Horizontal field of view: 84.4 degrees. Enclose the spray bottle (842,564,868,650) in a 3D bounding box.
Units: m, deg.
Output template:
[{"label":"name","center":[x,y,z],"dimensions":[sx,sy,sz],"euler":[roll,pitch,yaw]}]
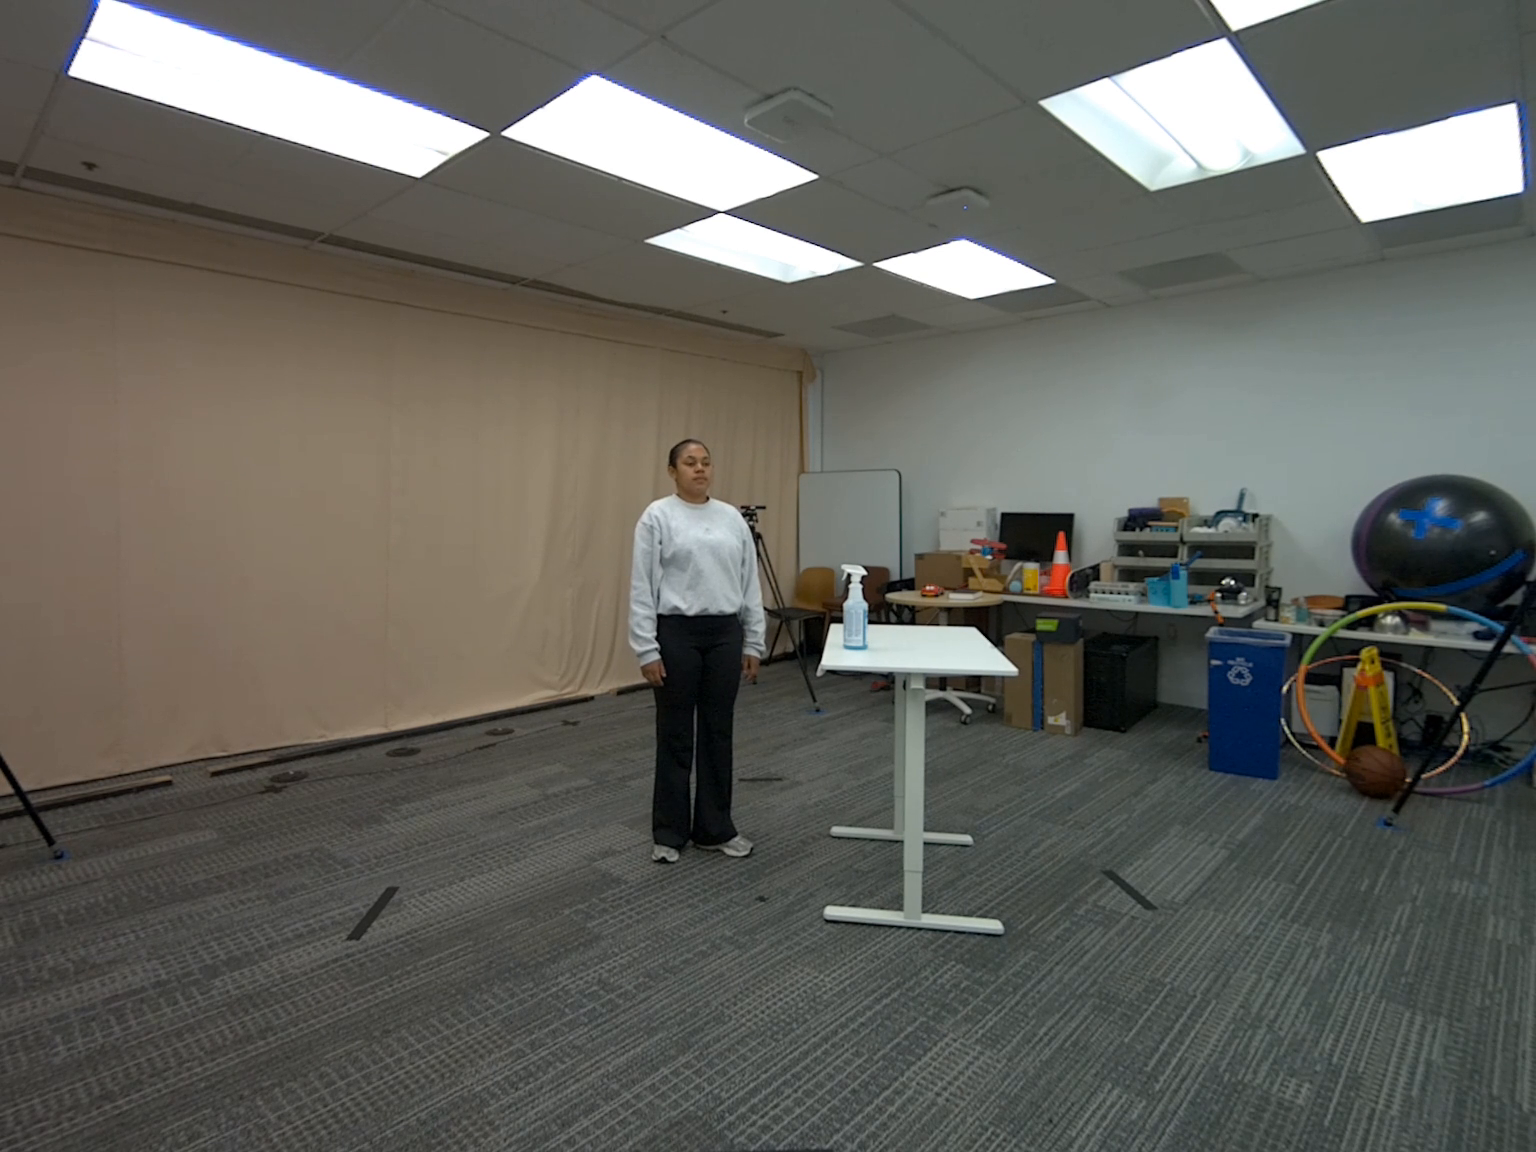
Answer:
[{"label":"spray bottle","center":[0.321,0.113,2.989],"dimensions":[0.084,0.297,0.093],"euler":[-2,2,-39]}]
